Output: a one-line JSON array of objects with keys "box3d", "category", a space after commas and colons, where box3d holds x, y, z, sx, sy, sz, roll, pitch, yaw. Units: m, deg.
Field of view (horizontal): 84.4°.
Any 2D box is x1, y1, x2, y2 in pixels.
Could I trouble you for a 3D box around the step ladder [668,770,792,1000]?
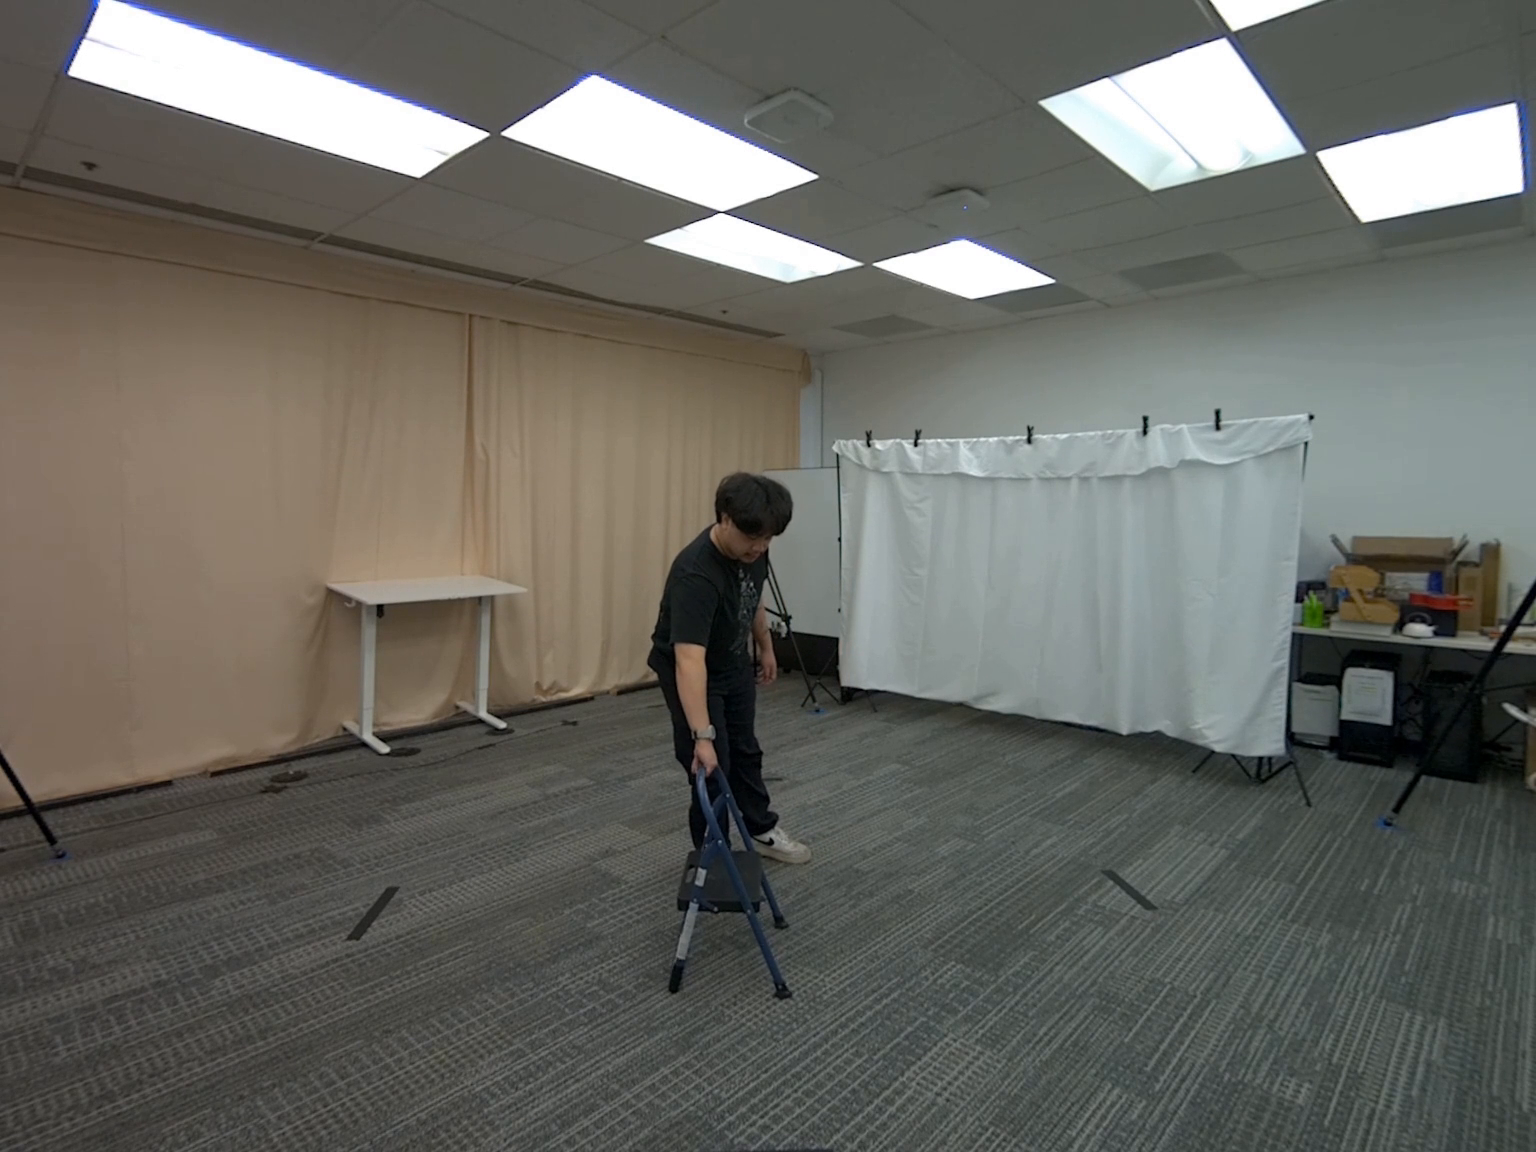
[{"box3d": [-0.121, 0.868, 2.585, 0.350, 0.605, 0.430, -1, 3, 1], "category": "step ladder"}]
